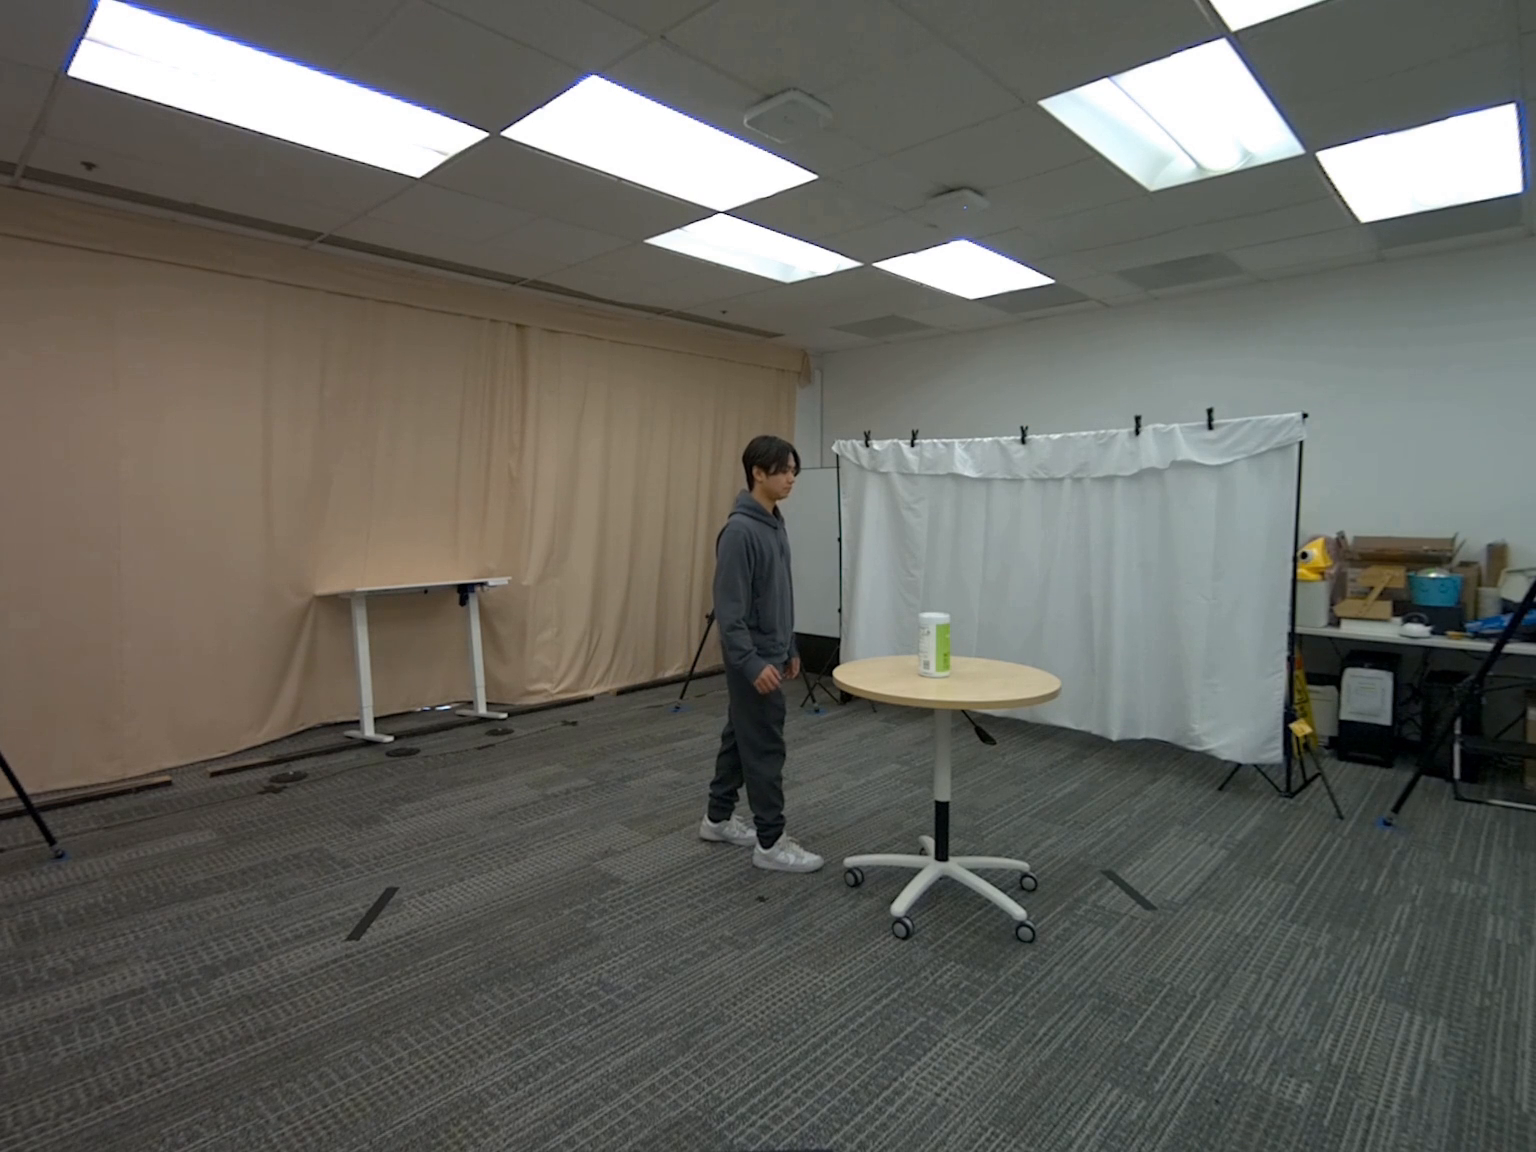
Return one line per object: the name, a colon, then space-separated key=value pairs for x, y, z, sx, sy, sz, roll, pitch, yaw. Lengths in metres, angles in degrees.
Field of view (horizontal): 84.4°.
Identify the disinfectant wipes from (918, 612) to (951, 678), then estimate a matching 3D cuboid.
disinfectant wipes: x=0.588 y=0.244 z=2.938 sx=0.118 sy=0.217 sz=0.118 roll=-1 pitch=4 yaw=-2
